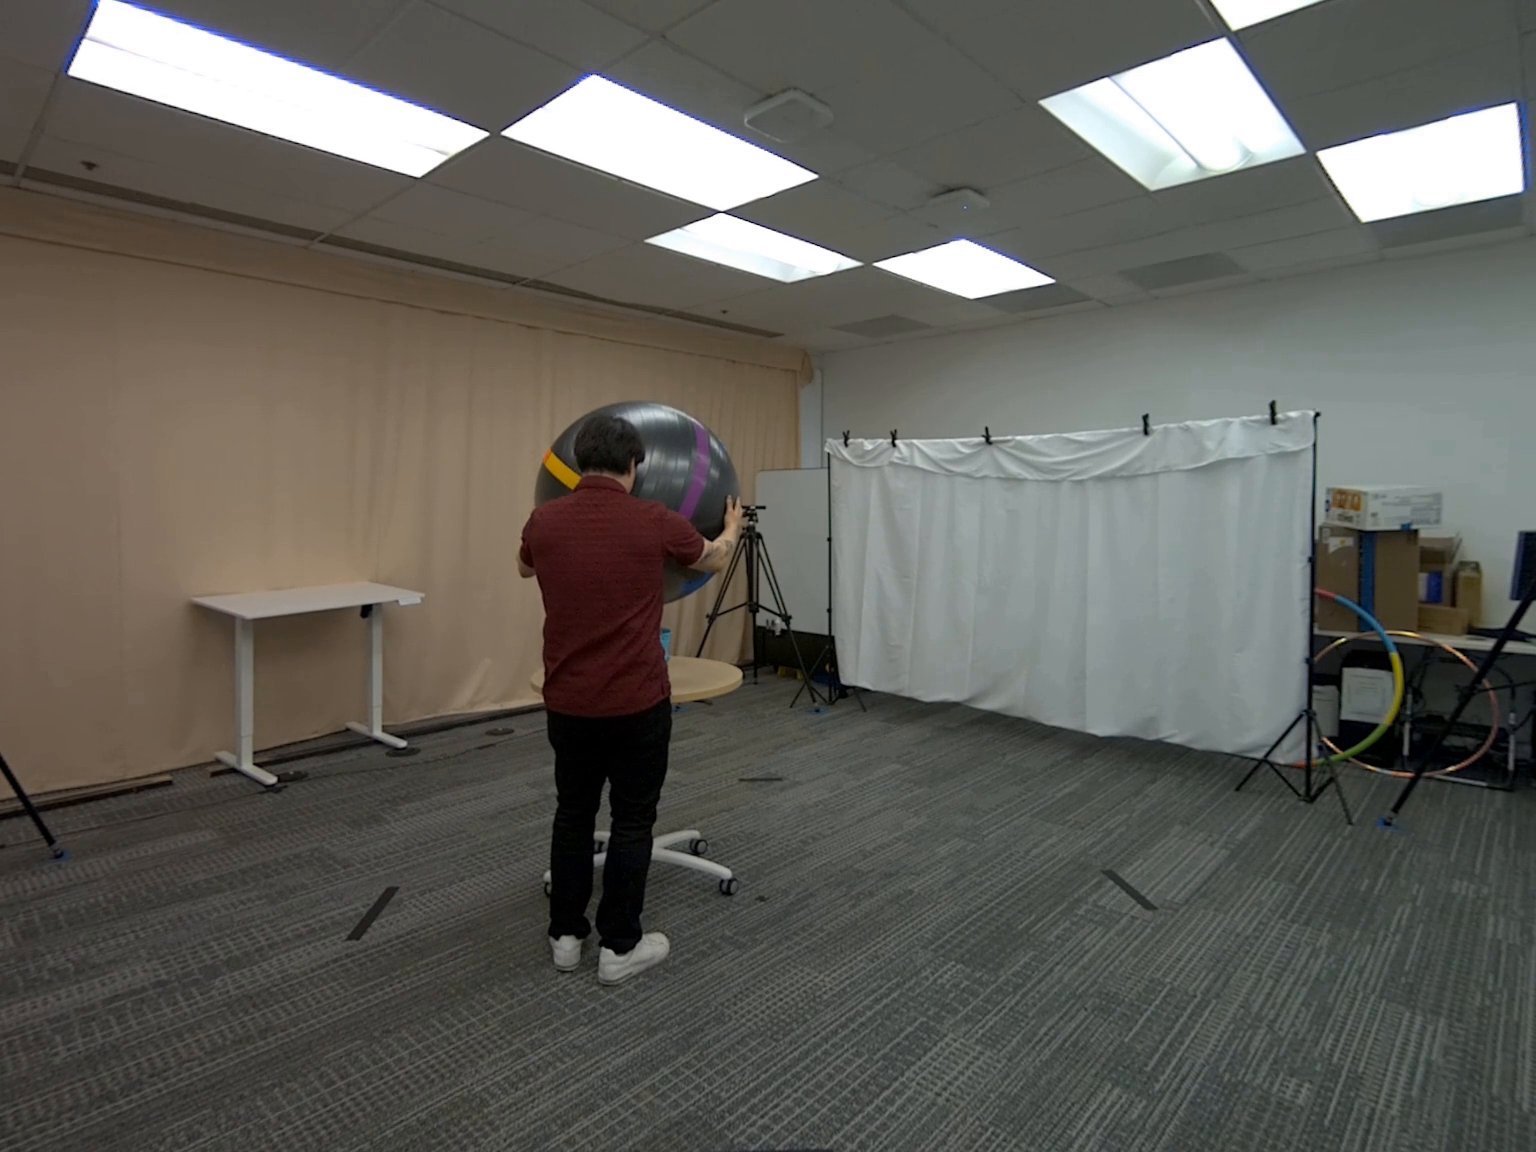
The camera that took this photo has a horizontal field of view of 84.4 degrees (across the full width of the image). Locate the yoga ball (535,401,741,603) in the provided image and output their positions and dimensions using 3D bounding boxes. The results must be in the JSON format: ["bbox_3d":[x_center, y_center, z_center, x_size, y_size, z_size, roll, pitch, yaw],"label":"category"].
[{"bbox_3d":[-0.474,-0.258,3.110,0.757,0.756,0.761,0,4,-2],"label":"yoga ball"}]
